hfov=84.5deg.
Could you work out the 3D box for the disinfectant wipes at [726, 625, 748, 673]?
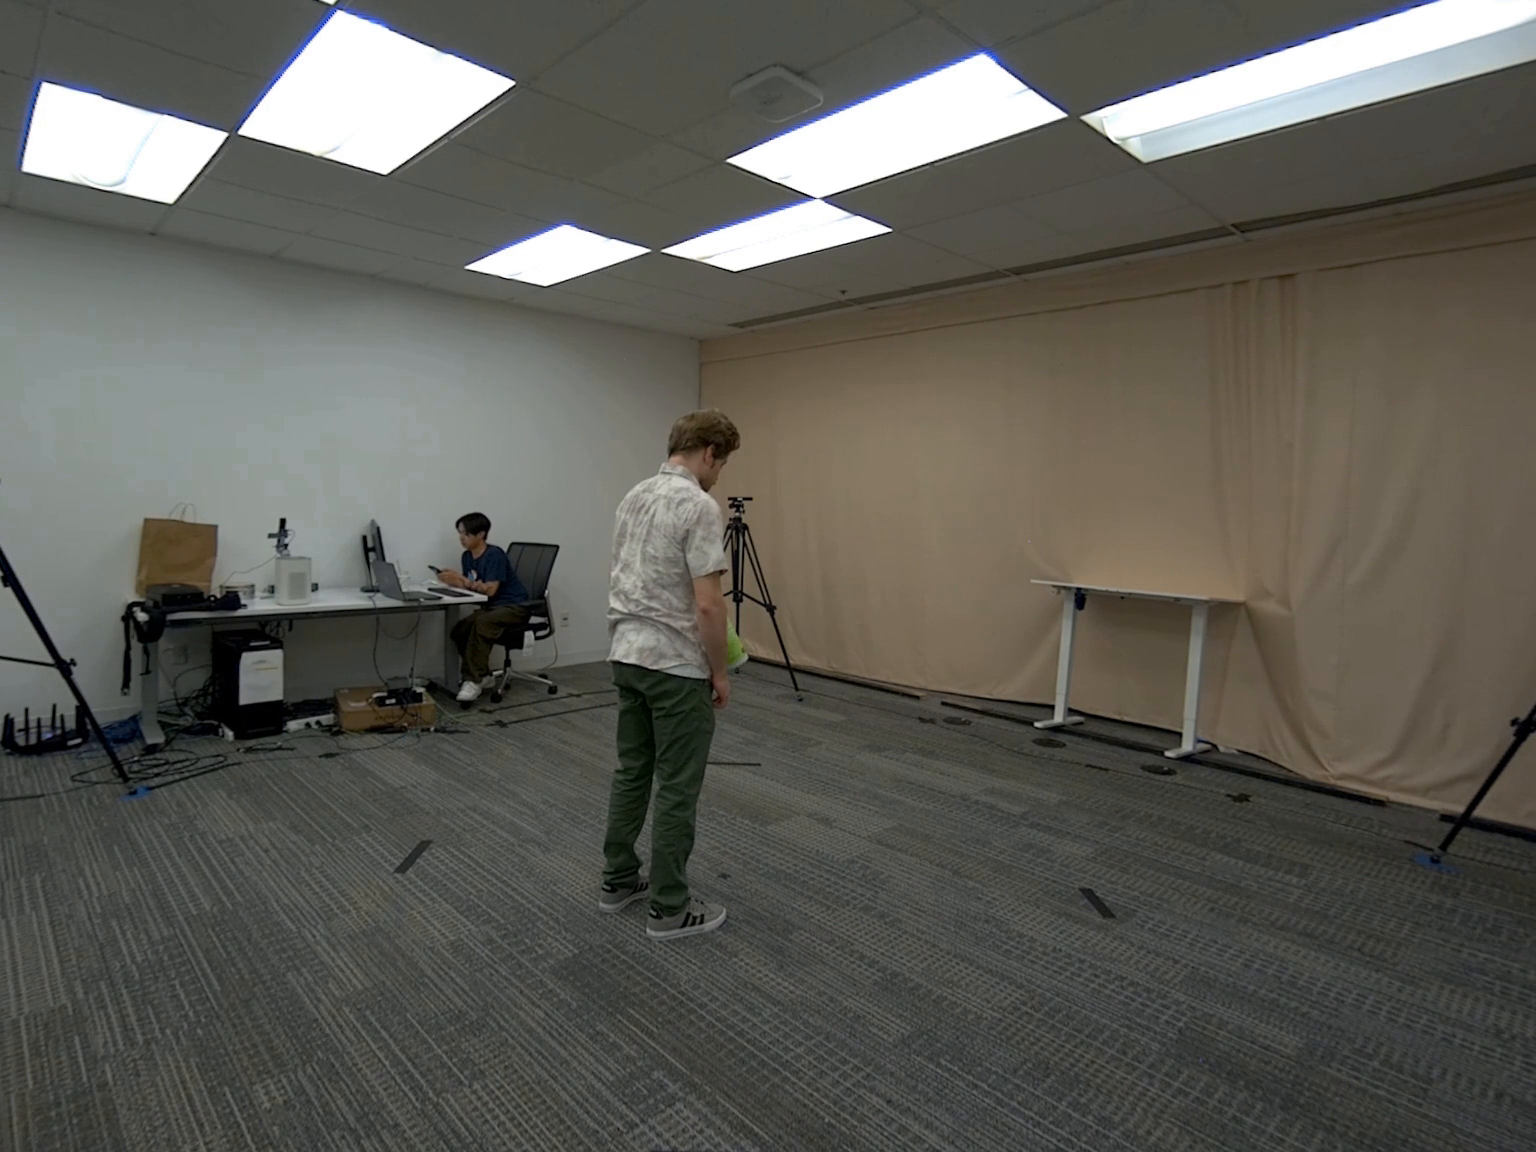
[{"bbox_3d":[-0.167,0.232,3.038,0.118,0.216,0.118,-25,6,2],"label":"disinfectant wipes"}]
